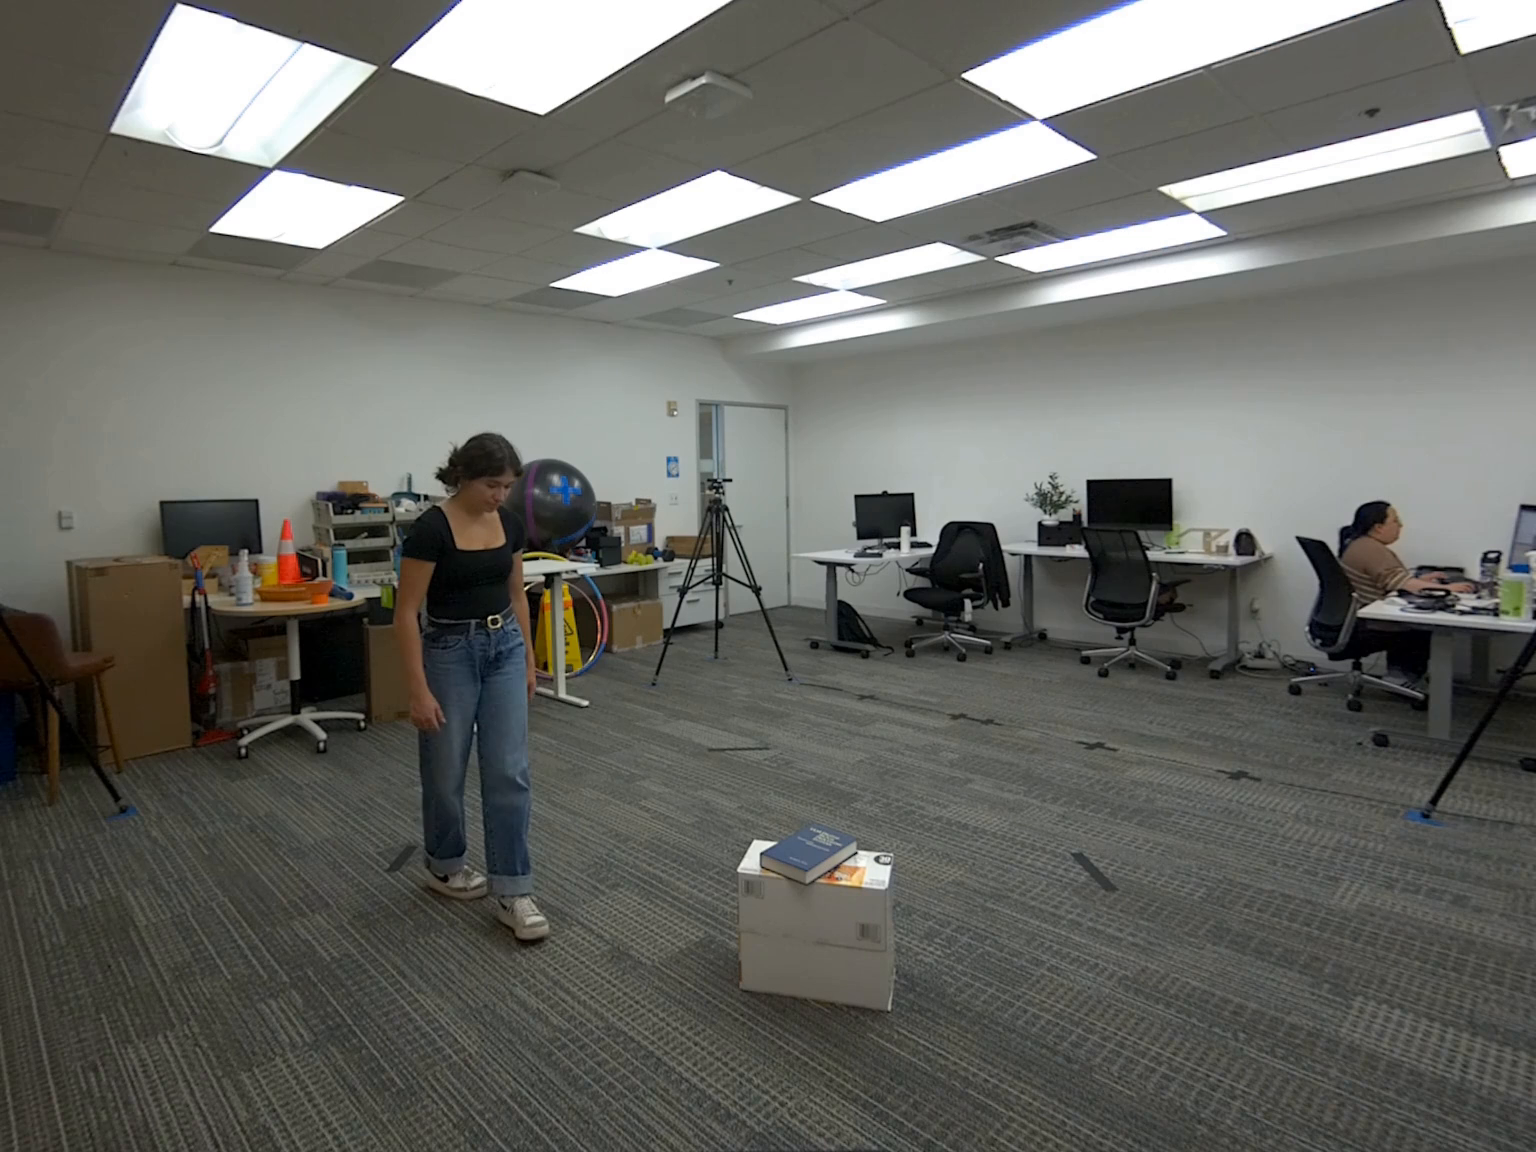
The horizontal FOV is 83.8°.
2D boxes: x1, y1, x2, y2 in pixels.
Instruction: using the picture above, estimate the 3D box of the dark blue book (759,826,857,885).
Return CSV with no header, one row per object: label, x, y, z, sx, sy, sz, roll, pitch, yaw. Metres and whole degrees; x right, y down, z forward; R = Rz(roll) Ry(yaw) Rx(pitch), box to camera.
dark blue book,0.120,0.761,2.366,0.168,0.045,0.239,5,10,40
